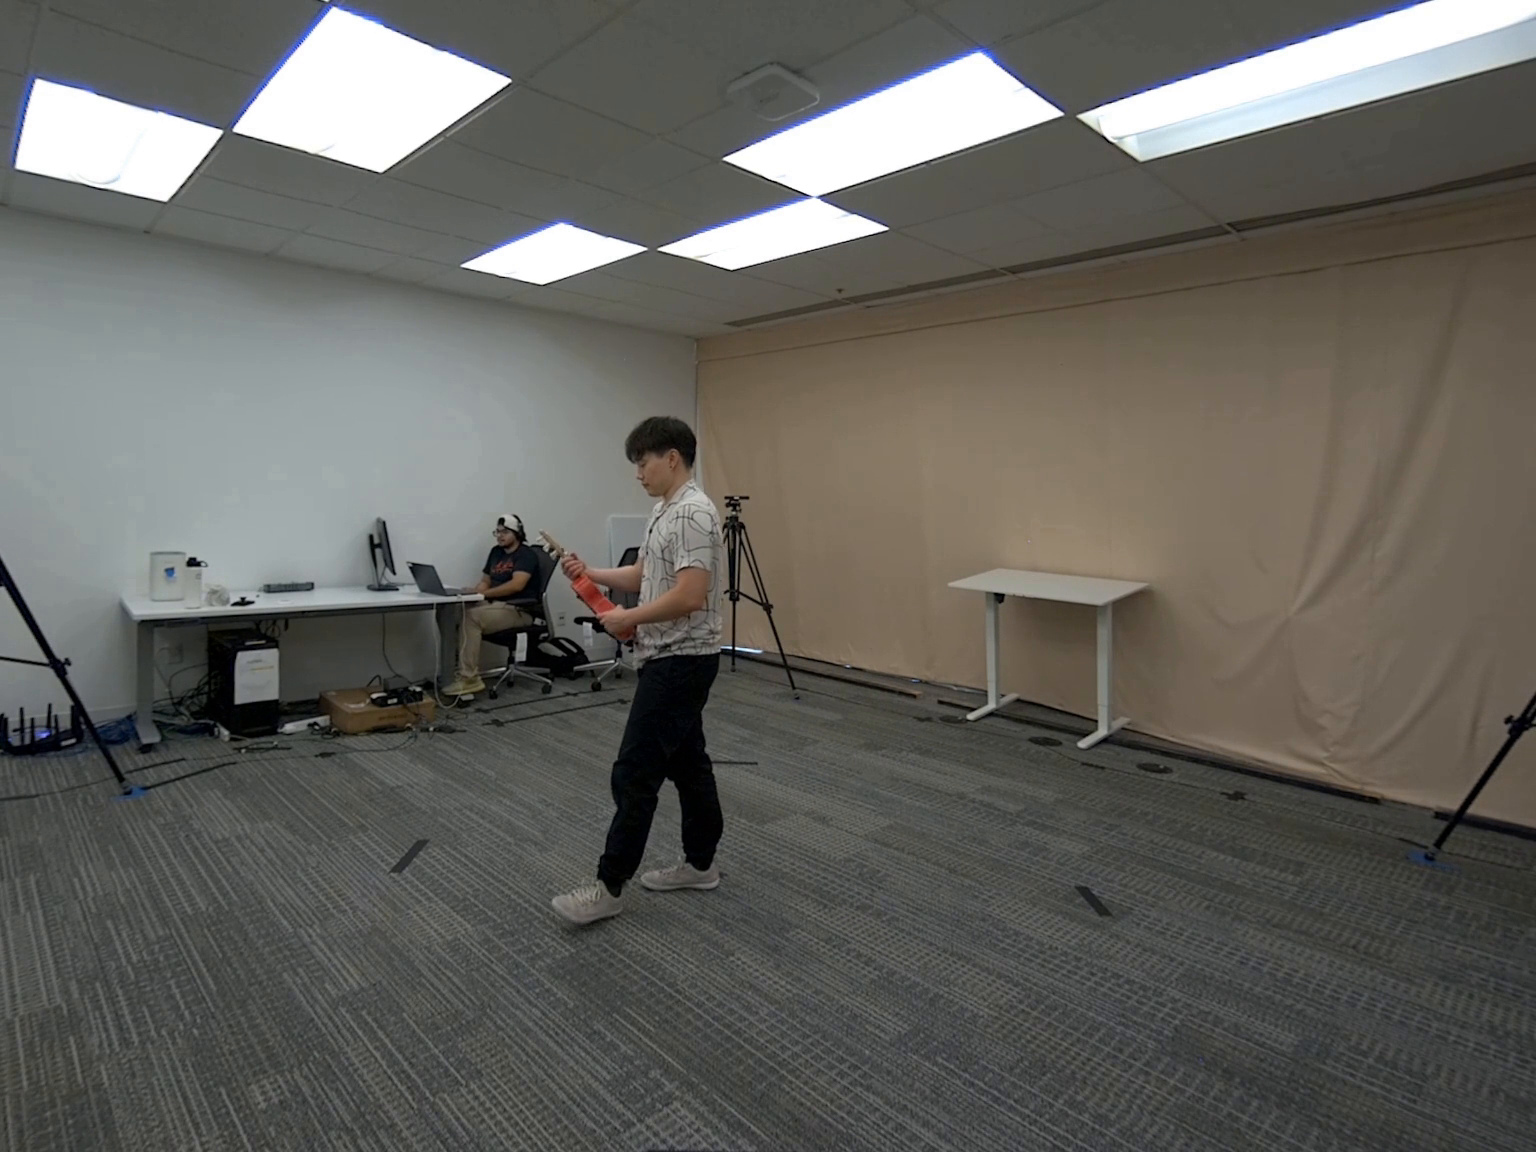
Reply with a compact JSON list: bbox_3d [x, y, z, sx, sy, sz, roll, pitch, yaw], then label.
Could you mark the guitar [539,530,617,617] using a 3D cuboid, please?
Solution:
[{"bbox_3d":[-0.651,0.044,2.946,0.506,0.070,0.190,42,-14,15],"label":"guitar"}]
